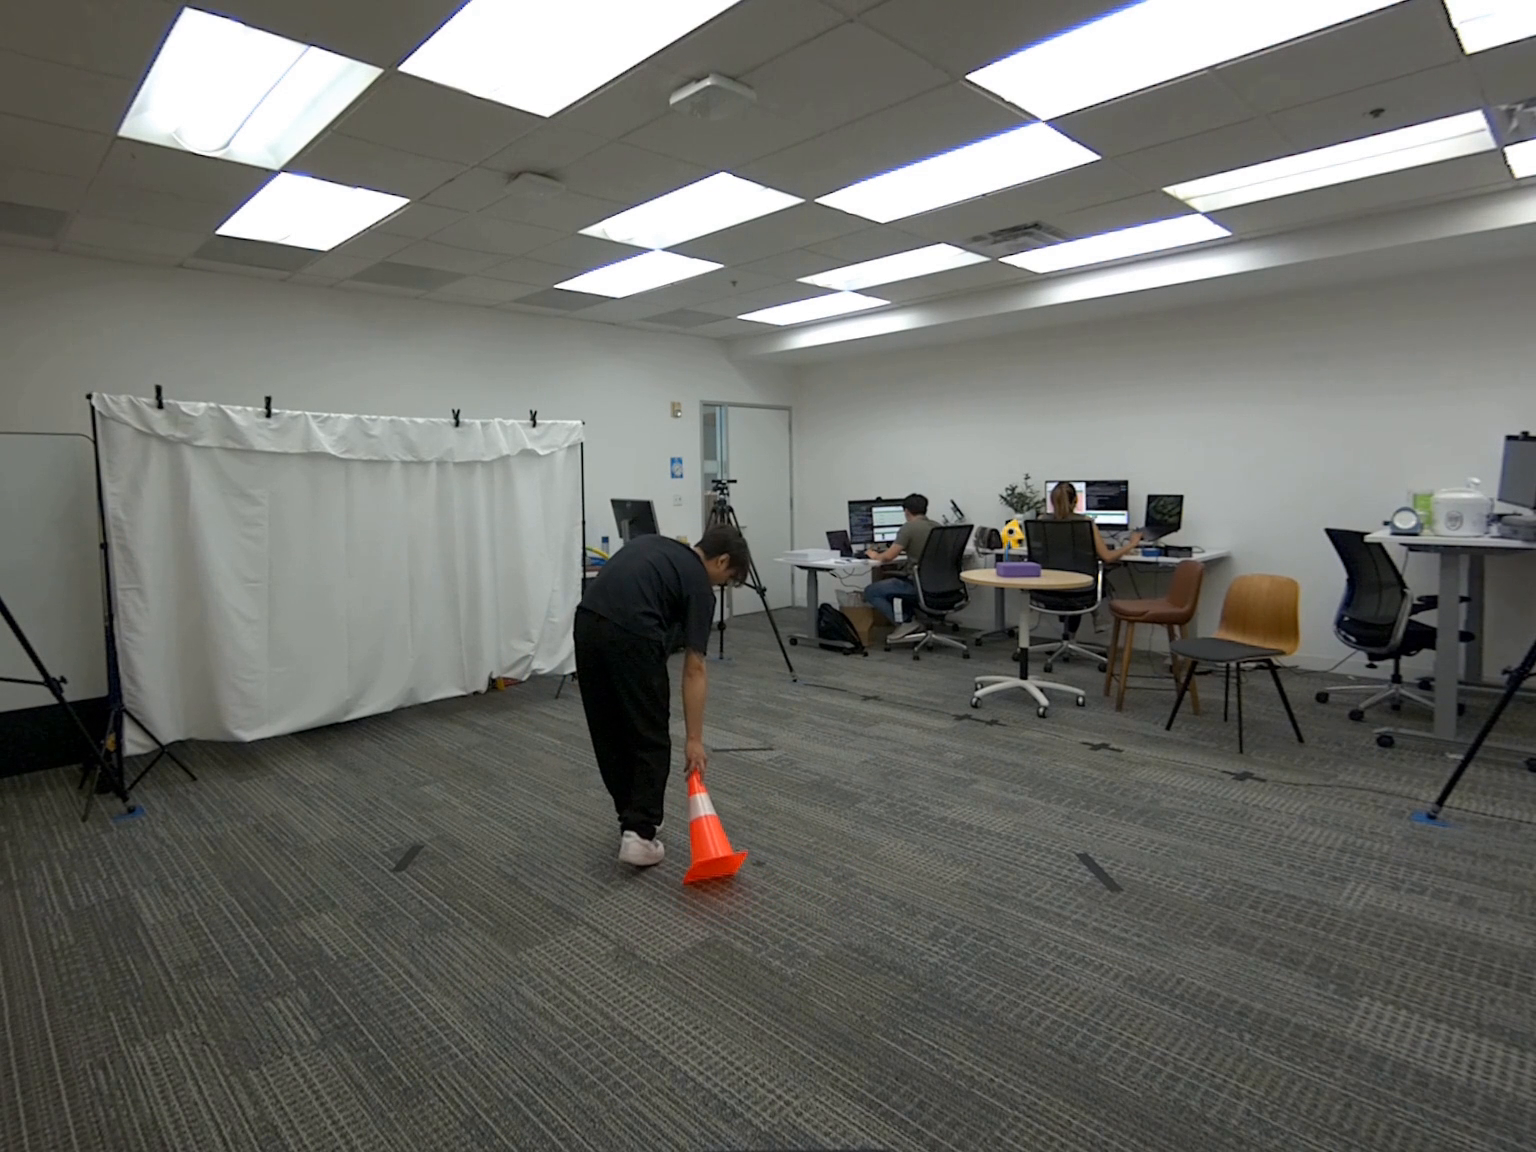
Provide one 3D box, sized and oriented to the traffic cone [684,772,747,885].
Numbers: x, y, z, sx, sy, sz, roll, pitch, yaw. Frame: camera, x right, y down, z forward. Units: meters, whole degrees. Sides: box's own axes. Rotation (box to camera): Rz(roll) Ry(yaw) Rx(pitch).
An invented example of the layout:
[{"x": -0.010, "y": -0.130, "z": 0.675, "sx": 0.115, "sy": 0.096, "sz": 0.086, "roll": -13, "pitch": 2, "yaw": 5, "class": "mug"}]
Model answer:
[{"x": -0.234, "y": 0.857, "z": 3.038, "sx": 0.200, "sy": 0.396, "sz": 0.201, "roll": -4, "pitch": -38, "yaw": -18, "class": "traffic cone"}]
